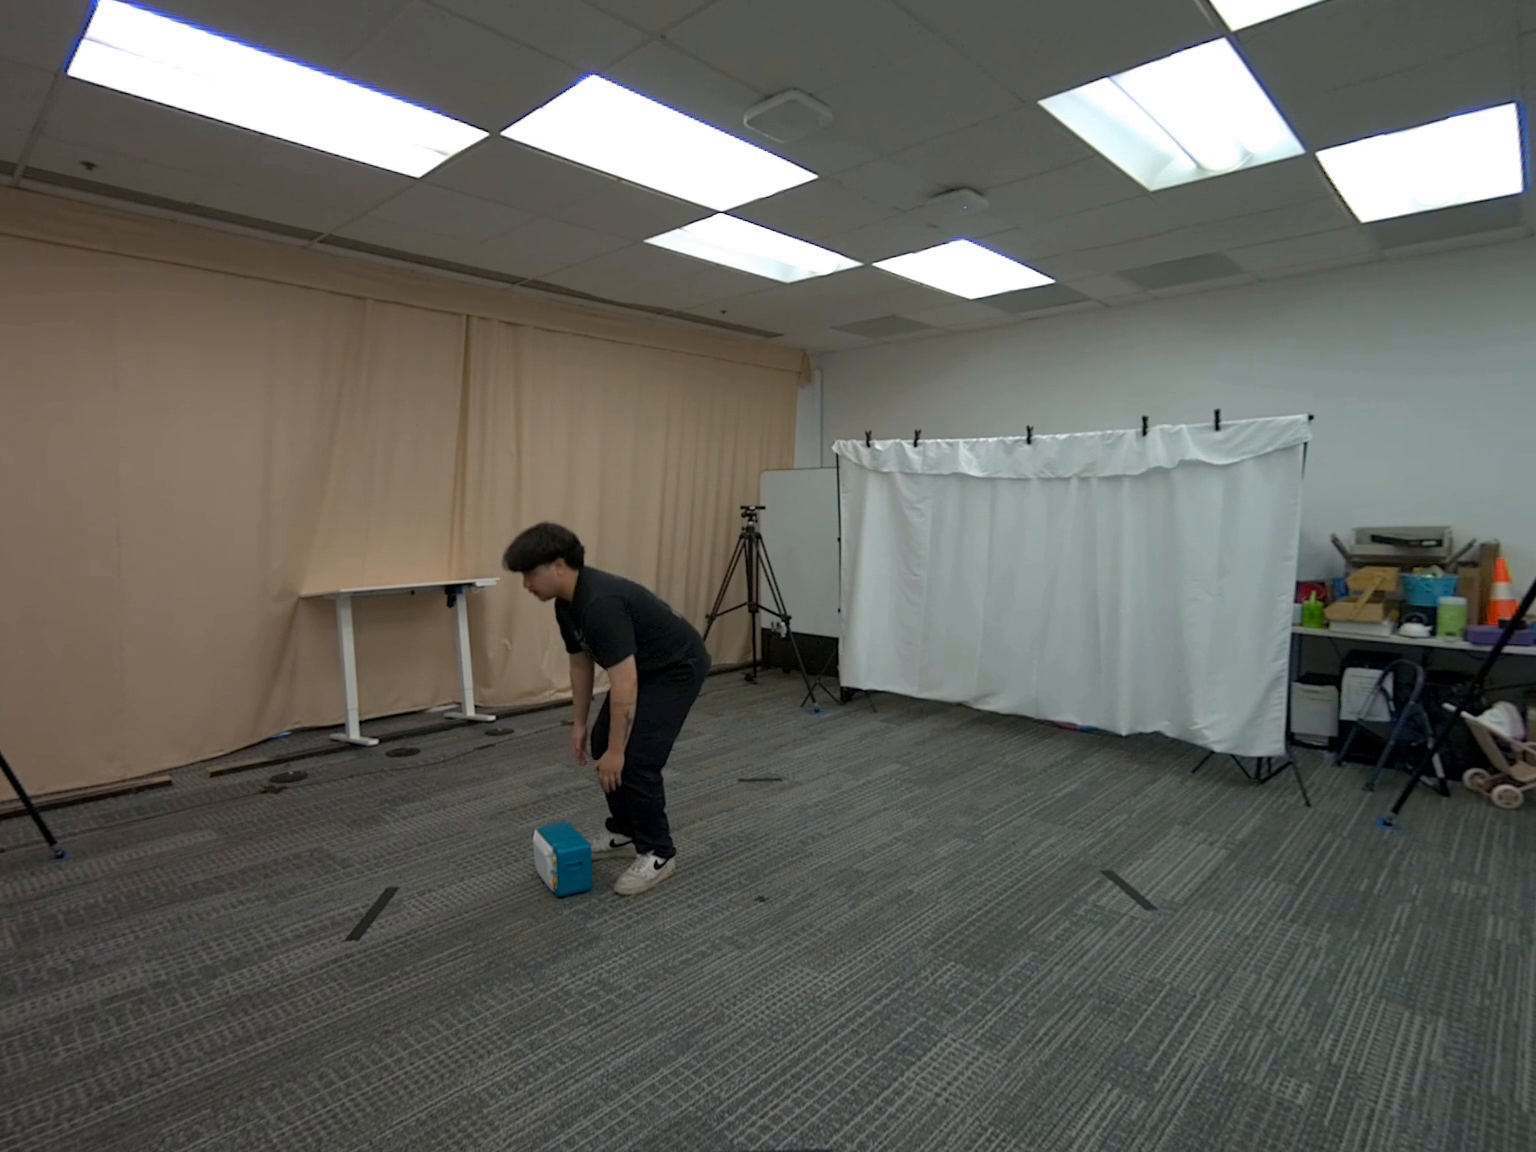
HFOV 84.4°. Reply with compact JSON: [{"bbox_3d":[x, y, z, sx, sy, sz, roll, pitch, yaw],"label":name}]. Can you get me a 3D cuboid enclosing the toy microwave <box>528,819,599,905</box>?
[{"bbox_3d":[-0.761,1.047,3.131,0.148,0.184,0.295,-3,4,-34],"label":"toy microwave"}]
